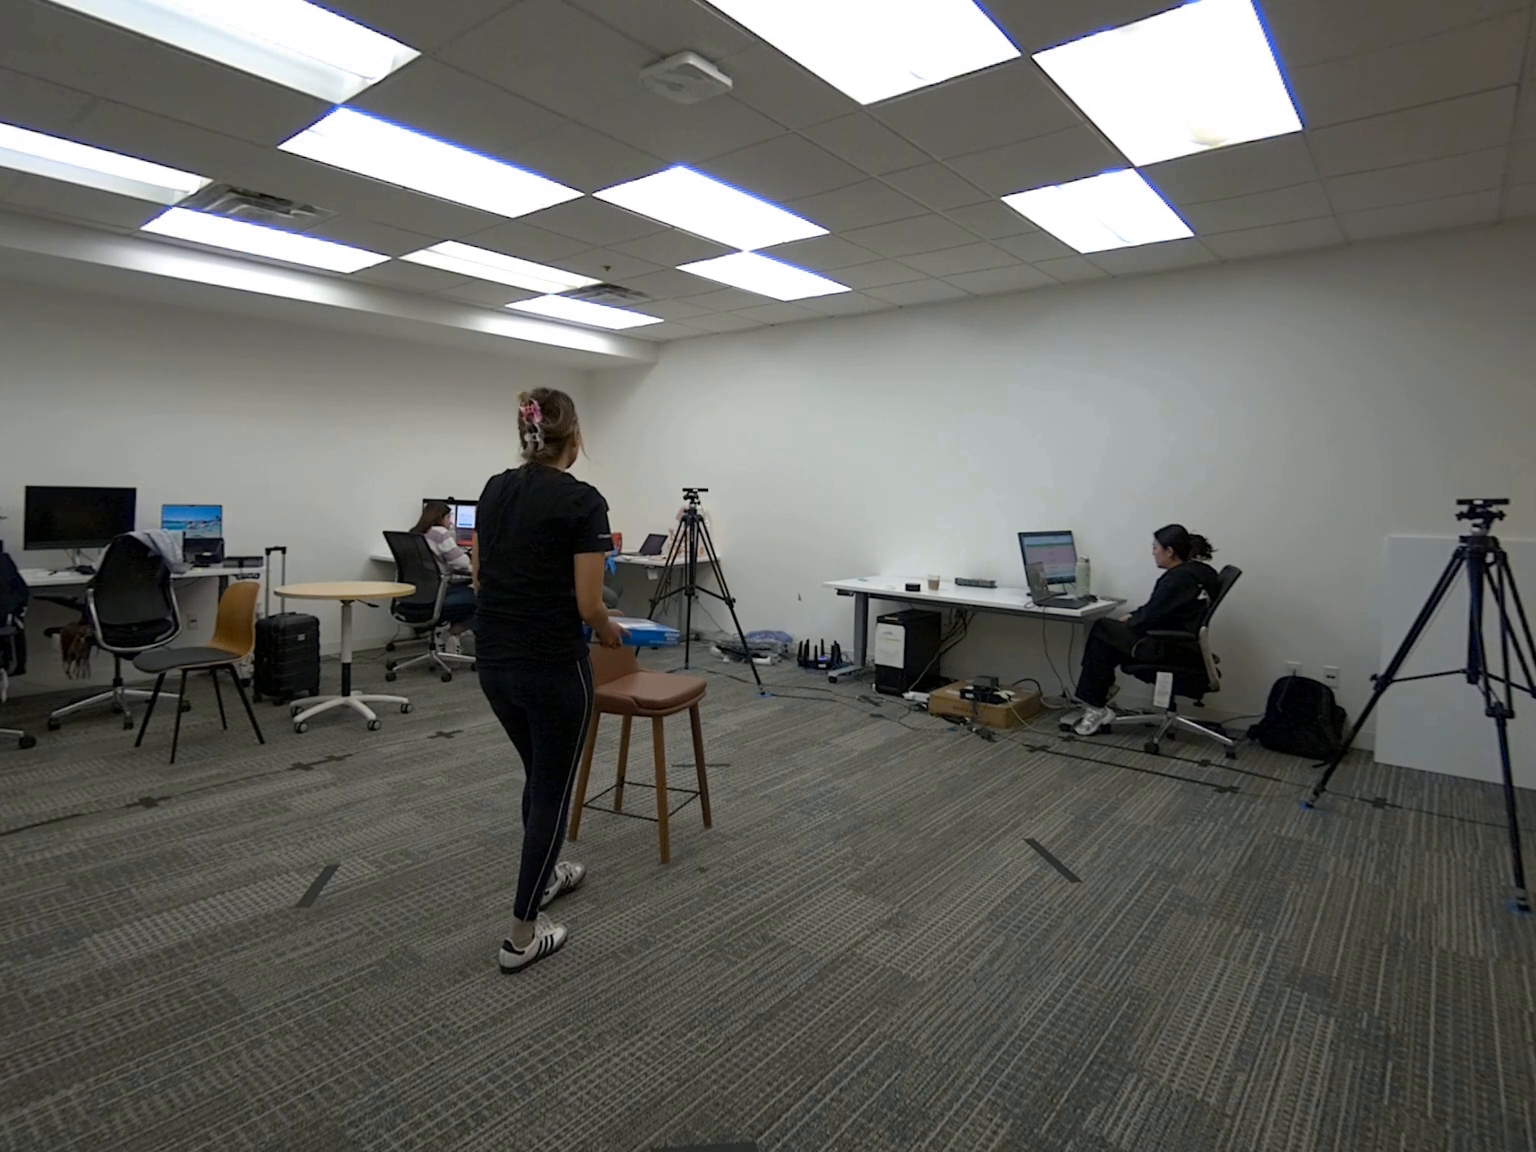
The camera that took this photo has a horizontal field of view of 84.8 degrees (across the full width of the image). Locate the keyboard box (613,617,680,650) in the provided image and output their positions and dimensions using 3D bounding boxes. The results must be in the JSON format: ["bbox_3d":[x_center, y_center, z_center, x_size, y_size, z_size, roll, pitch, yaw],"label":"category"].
[{"bbox_3d":[-0.511,0.186,2.865,0.182,0.059,0.421,15,3,37],"label":"keyboard box"}]
